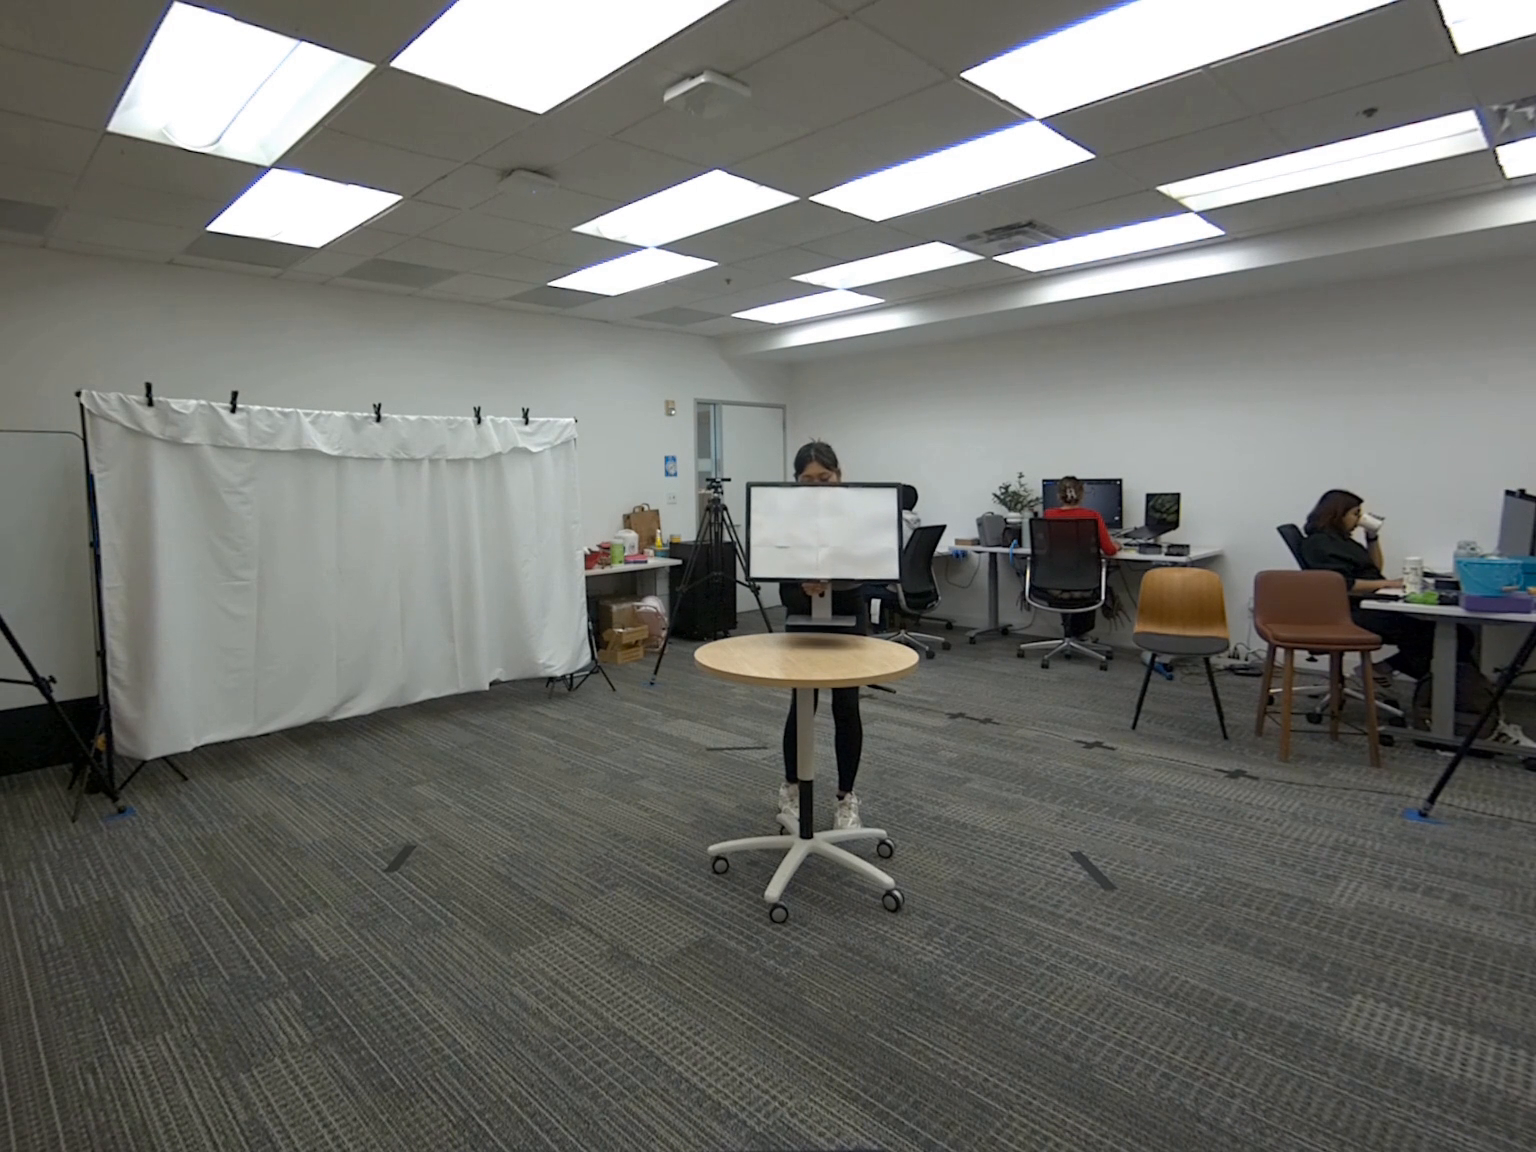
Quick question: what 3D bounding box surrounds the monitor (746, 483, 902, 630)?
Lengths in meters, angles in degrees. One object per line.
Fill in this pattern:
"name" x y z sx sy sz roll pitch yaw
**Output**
"monitor" 0.184 -0.073 3.096 0.540 0.520 0.187 1 4 1
